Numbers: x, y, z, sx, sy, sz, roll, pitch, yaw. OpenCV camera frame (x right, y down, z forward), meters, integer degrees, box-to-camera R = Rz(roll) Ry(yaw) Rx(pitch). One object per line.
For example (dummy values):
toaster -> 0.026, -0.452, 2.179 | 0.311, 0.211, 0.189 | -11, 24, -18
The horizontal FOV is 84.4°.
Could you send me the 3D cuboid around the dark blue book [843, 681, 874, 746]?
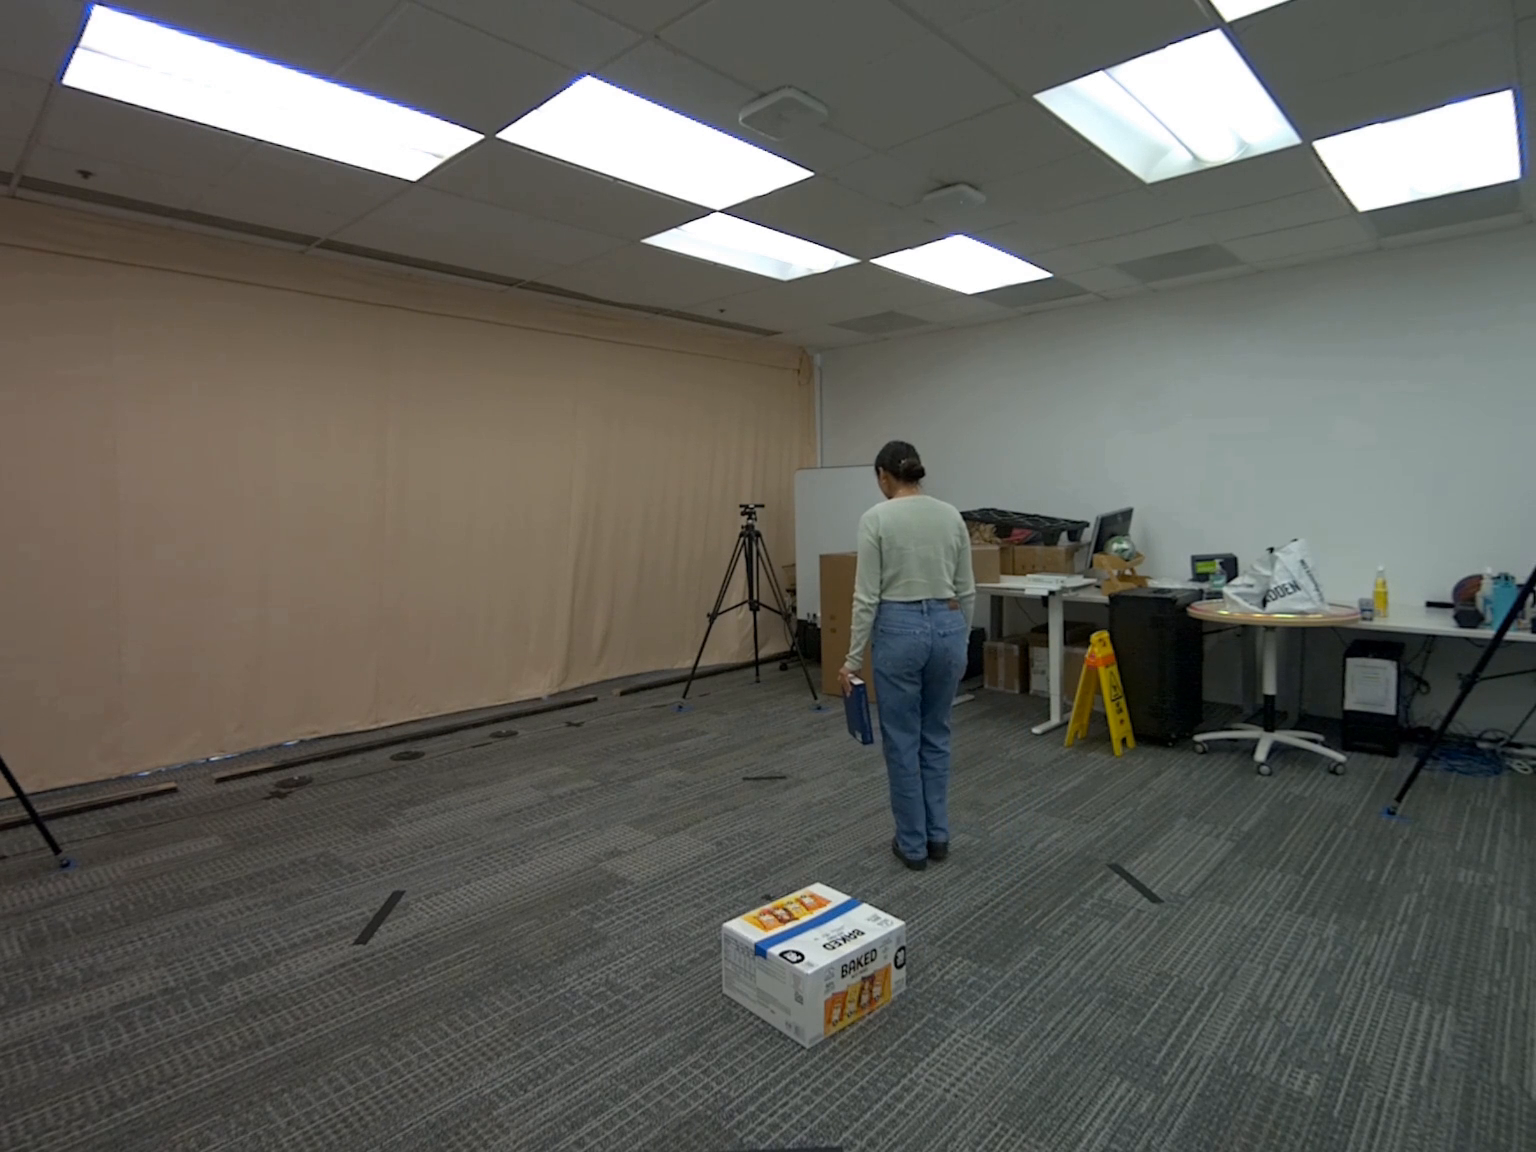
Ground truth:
dark blue book -> 0.353, 0.513, 3.249 | 0.044, 0.244, 0.166 | -8, 8, -15
